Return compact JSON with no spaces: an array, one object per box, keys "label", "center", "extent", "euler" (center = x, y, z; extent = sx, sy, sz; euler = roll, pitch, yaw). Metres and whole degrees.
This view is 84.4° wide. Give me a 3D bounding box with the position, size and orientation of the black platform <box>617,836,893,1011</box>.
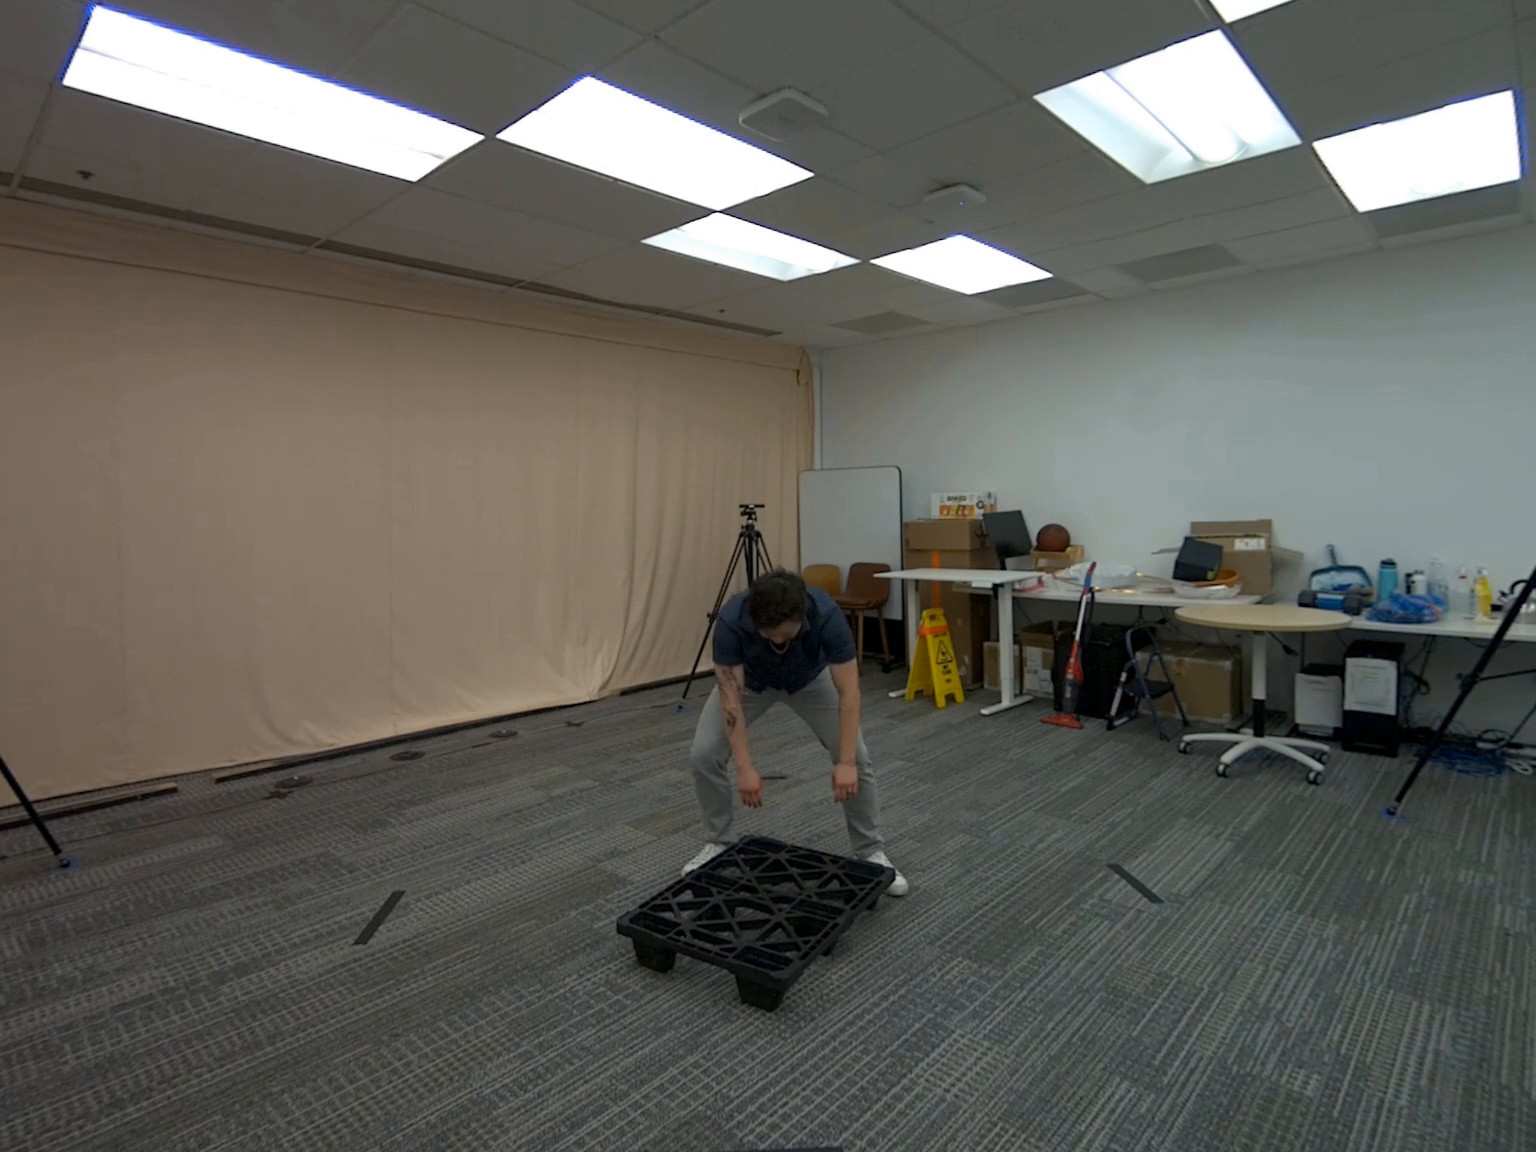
[{"label":"black platform","center":[-0.007,1.094,2.731],"extent":[0.623,0.143,0.784],"euler":[3,7,31]}]
